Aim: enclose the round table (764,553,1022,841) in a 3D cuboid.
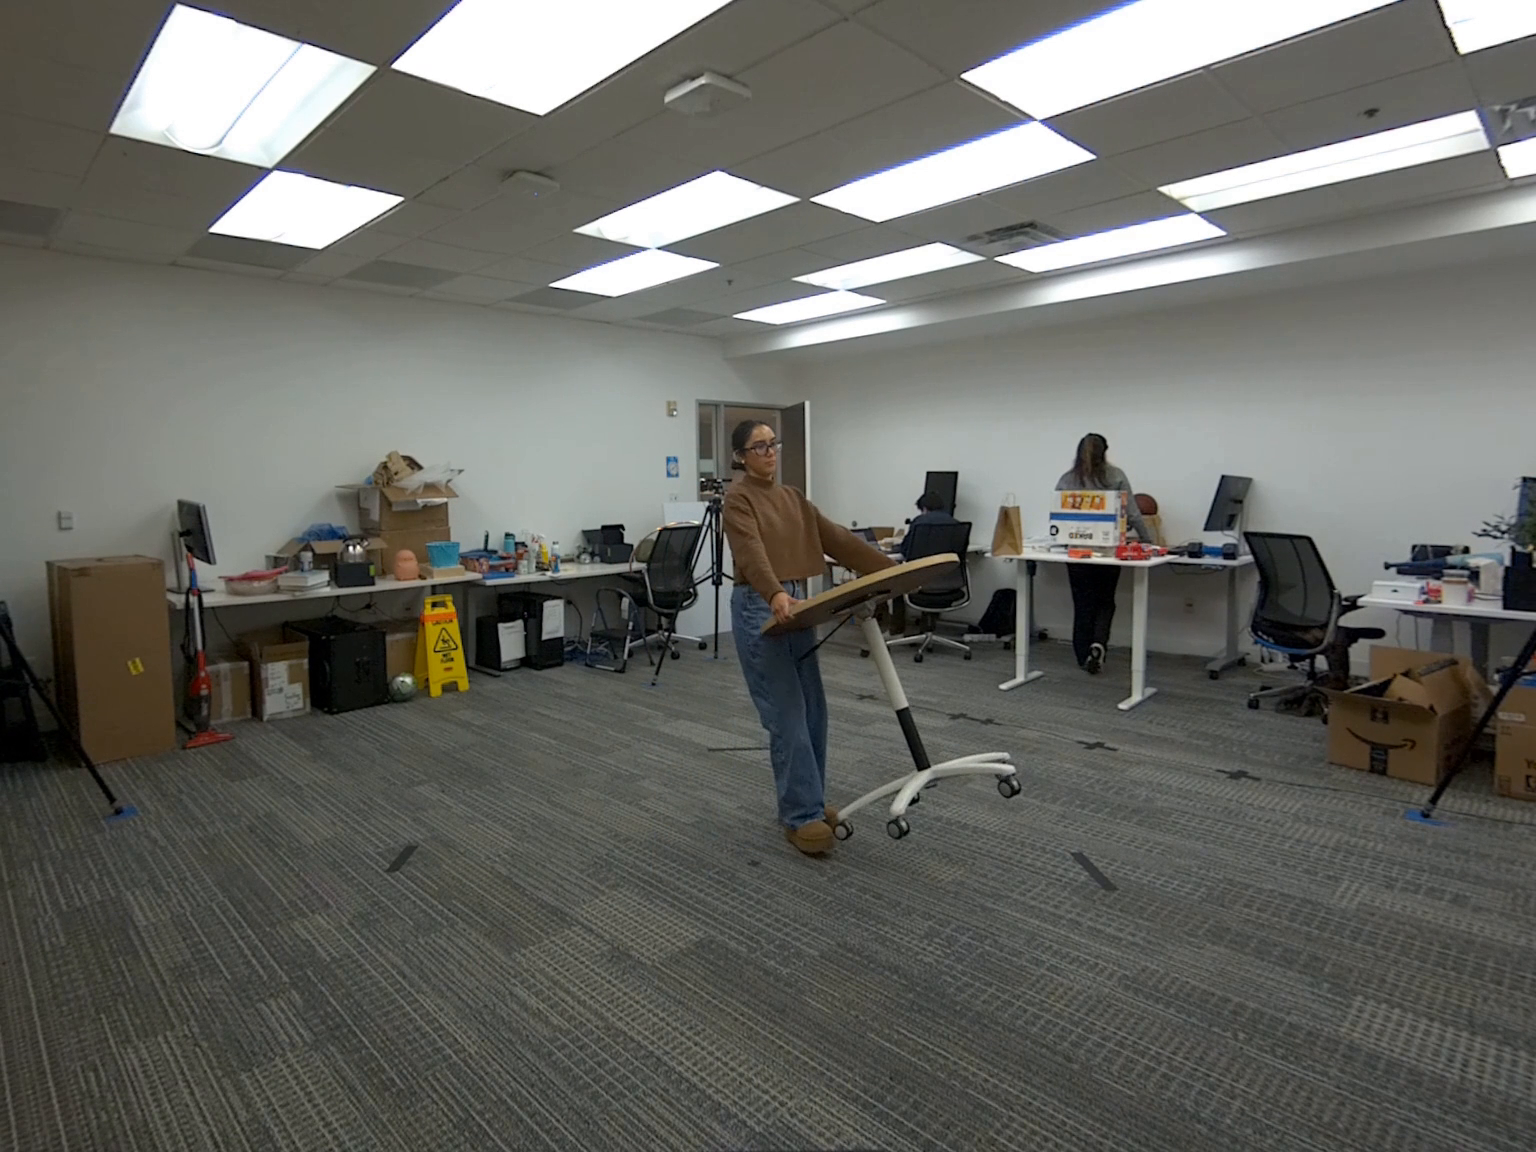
[{"bbox_3d":[0.483,0.438,3.054,0.782,0.797,0.777,-19,-10,-5],"label":"round table"}]
